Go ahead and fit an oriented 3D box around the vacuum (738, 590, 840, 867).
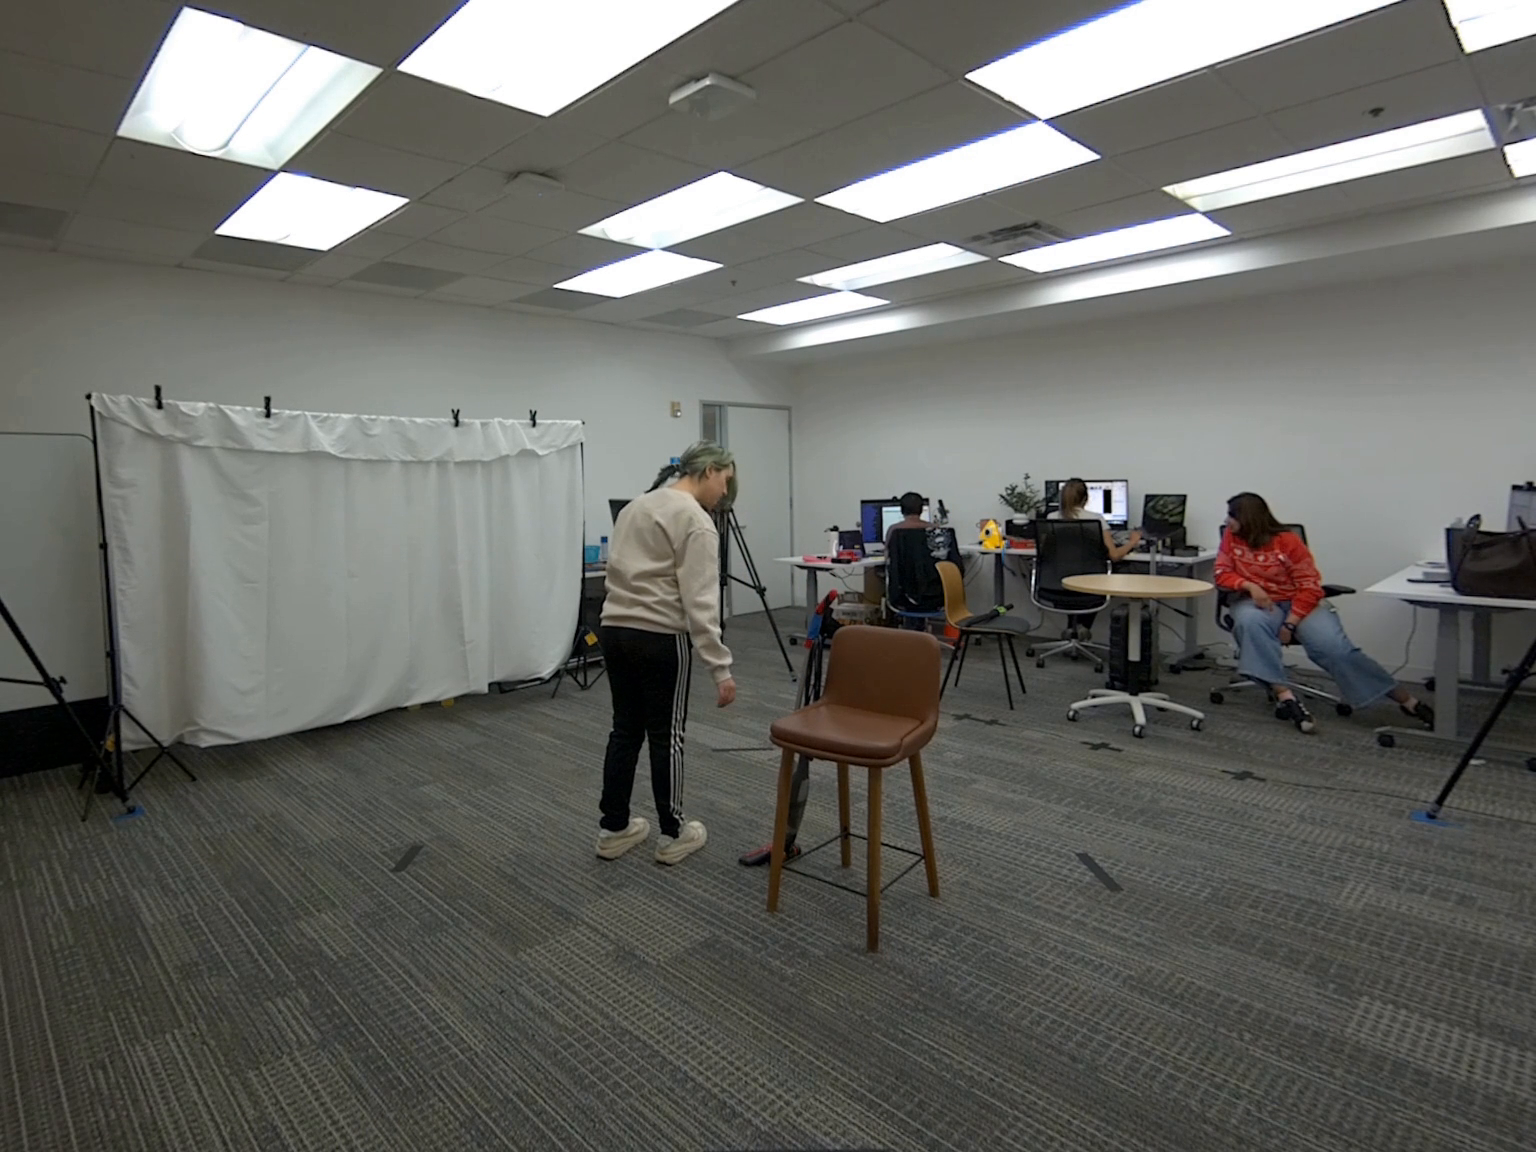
[{"bbox_3d":[0.118,0.547,3.019,0.245,1.038,0.149,-1,19,-40],"label":"vacuum"}]
